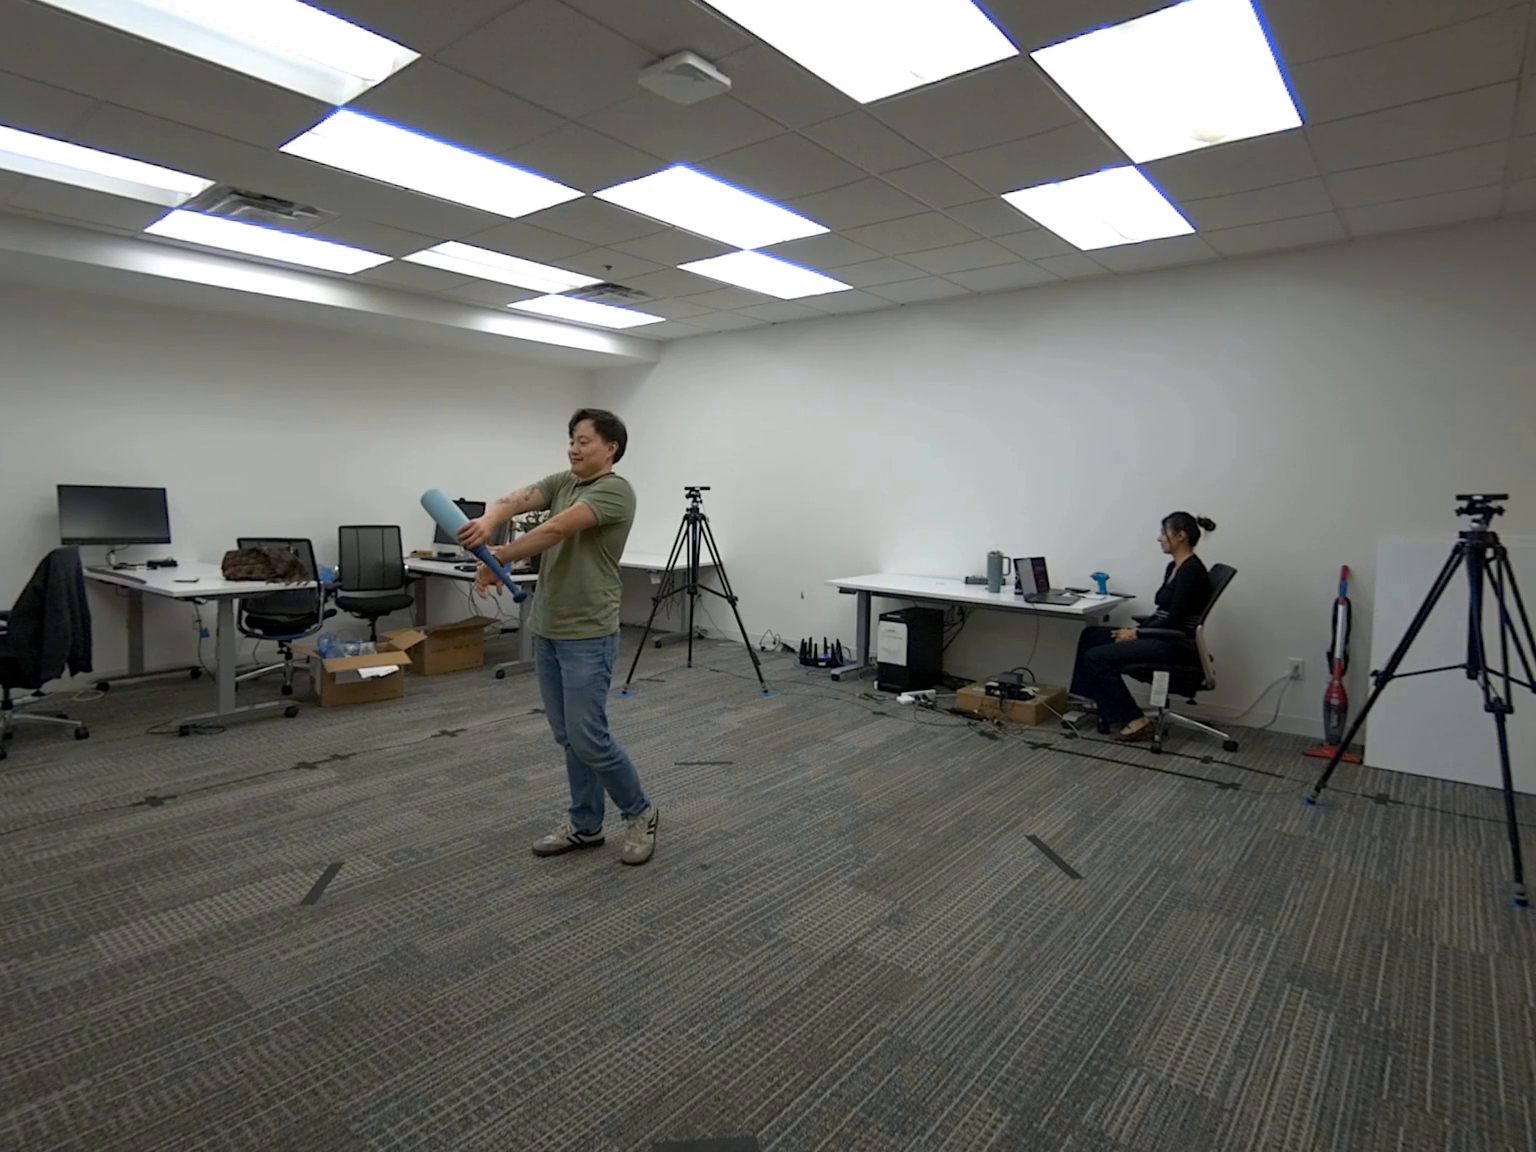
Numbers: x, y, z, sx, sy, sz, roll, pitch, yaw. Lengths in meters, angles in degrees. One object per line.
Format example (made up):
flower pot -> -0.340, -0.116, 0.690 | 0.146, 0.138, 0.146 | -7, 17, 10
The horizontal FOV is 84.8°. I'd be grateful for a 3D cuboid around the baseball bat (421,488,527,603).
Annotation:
baseball bat -> -1.002, -0.106, 2.885 | 0.556, 0.089, 0.087 | 43, 18, 17
